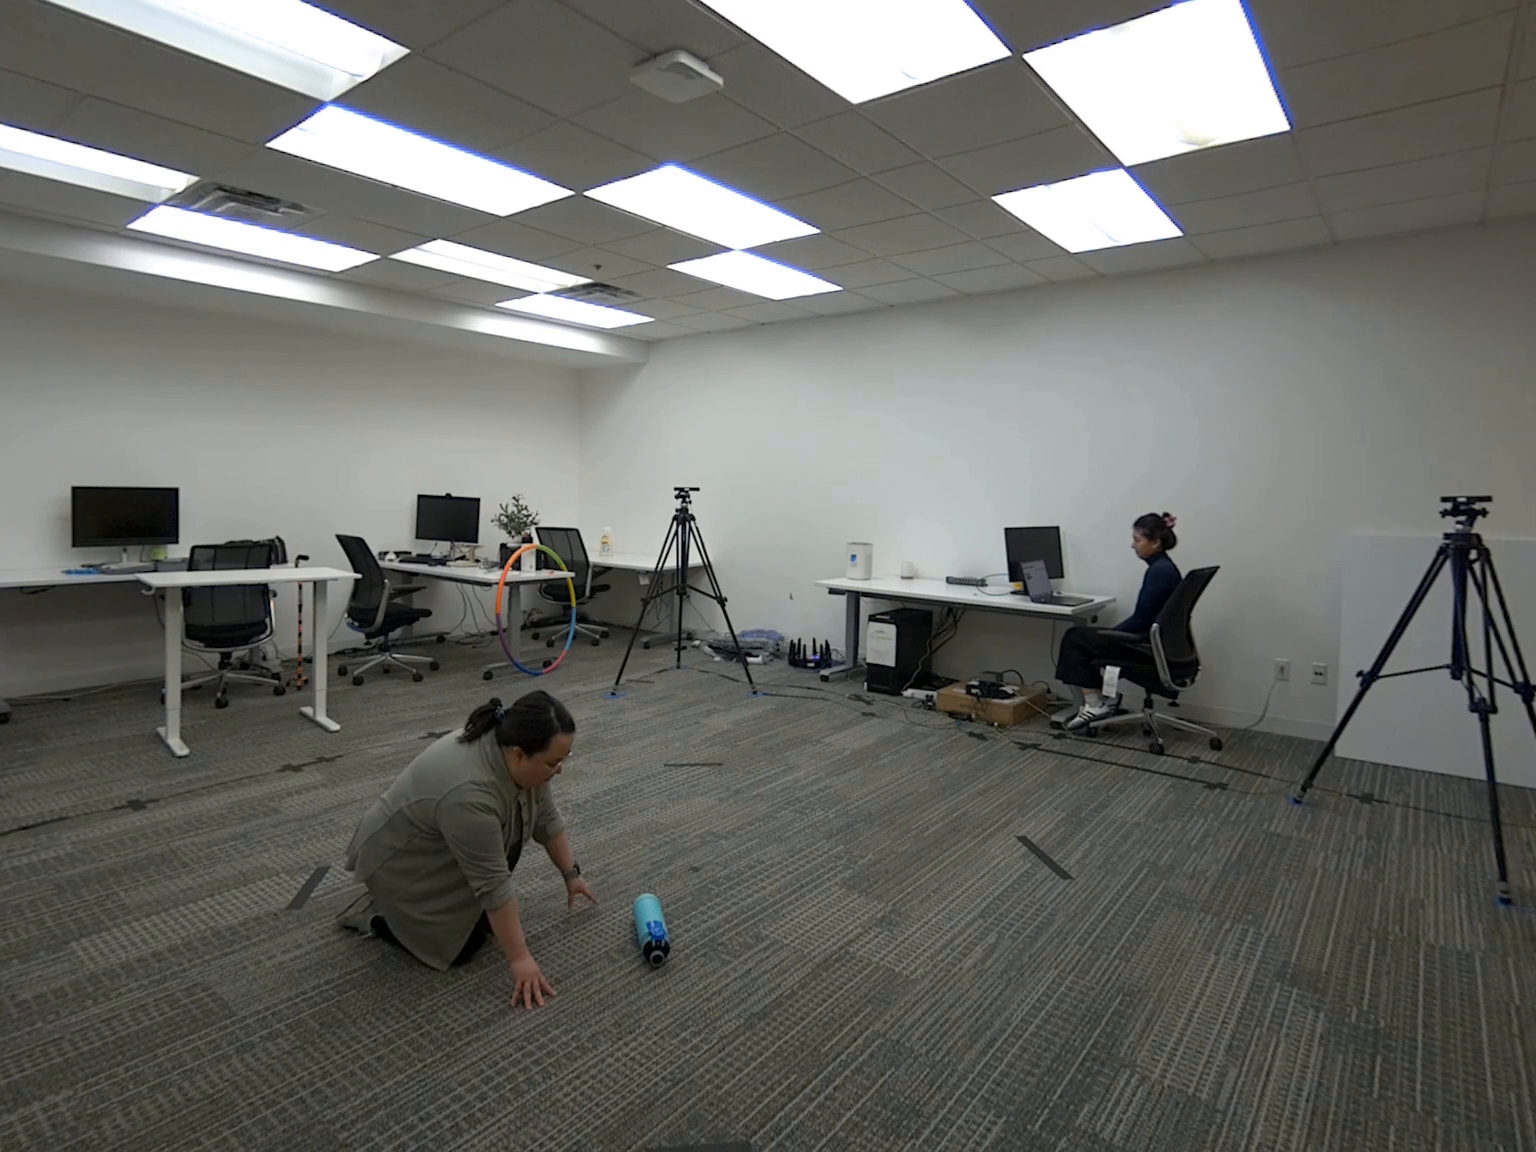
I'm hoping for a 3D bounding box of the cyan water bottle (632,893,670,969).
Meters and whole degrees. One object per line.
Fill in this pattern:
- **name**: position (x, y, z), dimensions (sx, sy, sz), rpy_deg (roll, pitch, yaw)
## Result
- **cyan water bottle**: position (-0.361, 1.072, 2.576), dimensions (0.091, 0.092, 0.288), rpy_deg (0, 6, -14)
